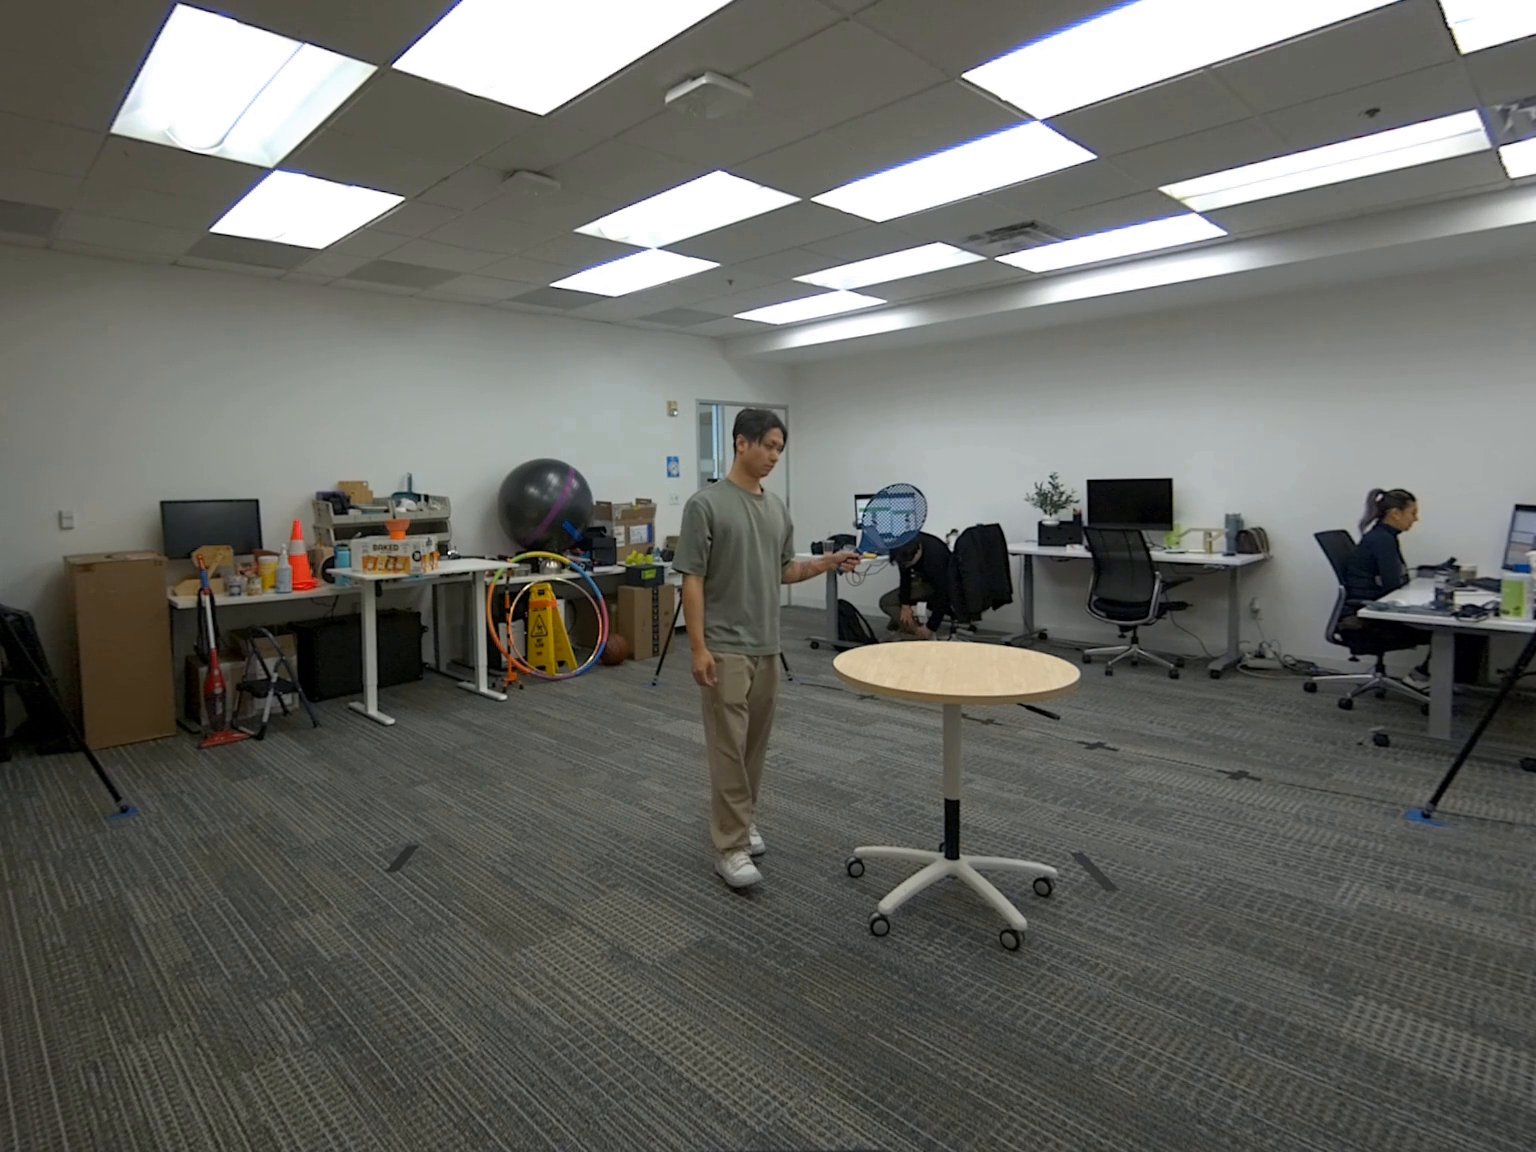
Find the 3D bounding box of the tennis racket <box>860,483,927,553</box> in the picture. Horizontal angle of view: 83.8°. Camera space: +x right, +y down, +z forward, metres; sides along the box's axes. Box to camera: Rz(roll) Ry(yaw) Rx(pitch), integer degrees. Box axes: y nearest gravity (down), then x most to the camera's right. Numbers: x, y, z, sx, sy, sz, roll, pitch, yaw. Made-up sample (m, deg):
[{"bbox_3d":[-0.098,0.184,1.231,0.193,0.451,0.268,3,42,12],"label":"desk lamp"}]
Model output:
[{"bbox_3d":[0.406,-0.171,3.192,0.433,0.217,0.031,-43,-13,13],"label":"tennis racket"}]
